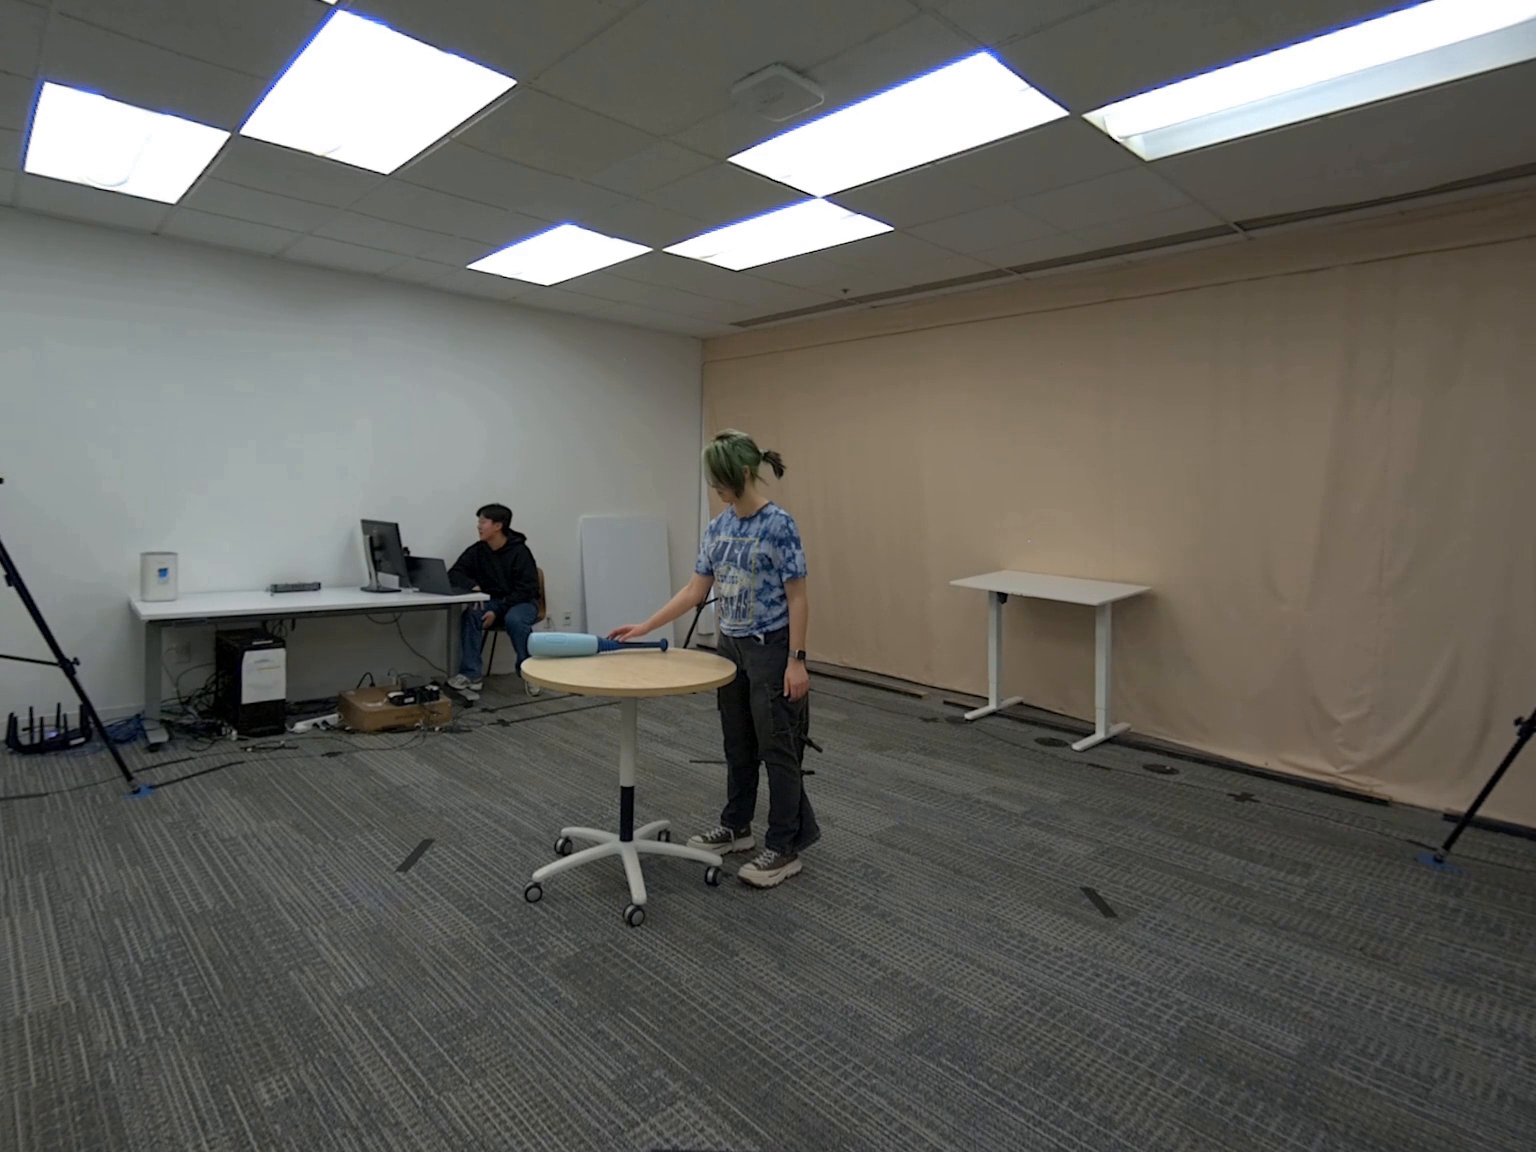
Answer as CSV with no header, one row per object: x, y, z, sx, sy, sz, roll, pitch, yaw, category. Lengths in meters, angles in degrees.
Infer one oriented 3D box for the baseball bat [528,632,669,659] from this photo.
-0.642,0.266,3.192,0.532,0.089,0.091,3,3,-25,baseball bat
